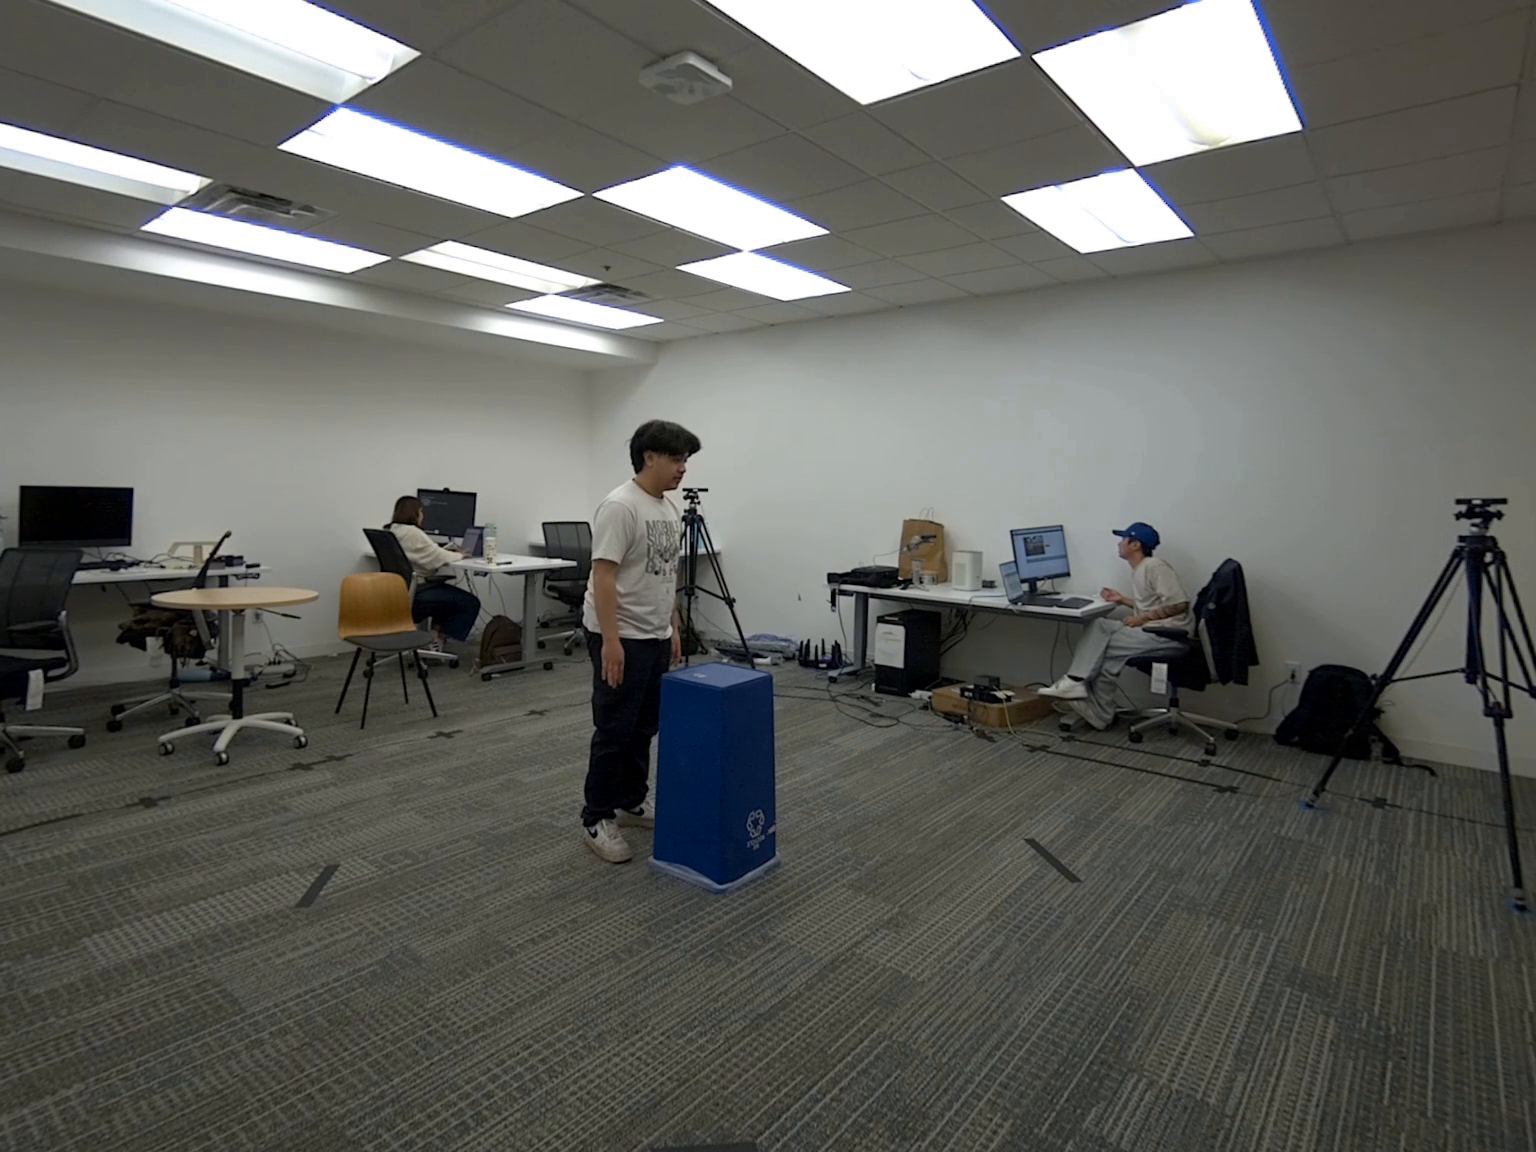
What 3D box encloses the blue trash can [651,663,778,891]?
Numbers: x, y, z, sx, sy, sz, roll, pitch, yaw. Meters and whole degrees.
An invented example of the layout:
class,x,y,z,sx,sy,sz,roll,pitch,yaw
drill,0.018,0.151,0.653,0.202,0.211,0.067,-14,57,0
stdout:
class,x,y,z,sx,sy,sz,roll,pitch,yaw
blue trash can,-0.205,0.713,3.141,0.390,0.711,0.363,3,5,38
